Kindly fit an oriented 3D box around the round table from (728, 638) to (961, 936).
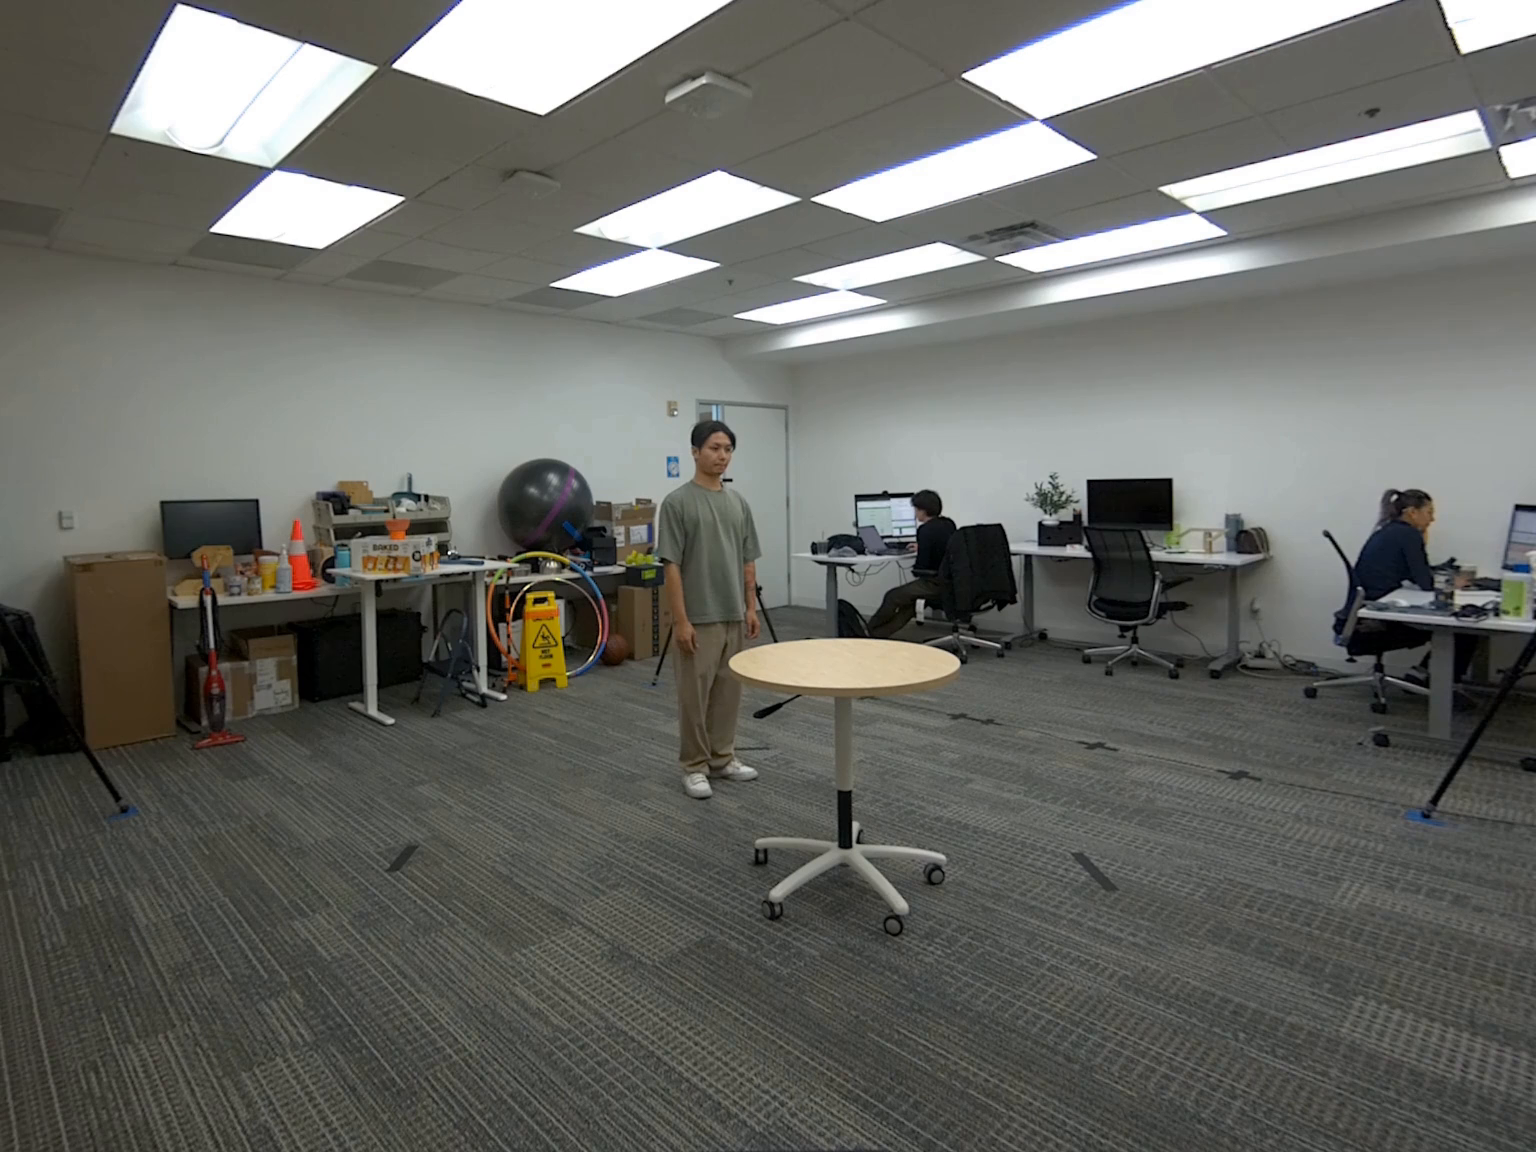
[{"bbox_3d":[0.268,0.676,2.896,0.763,0.791,0.768,-1,5,-2],"label":"round table"}]
